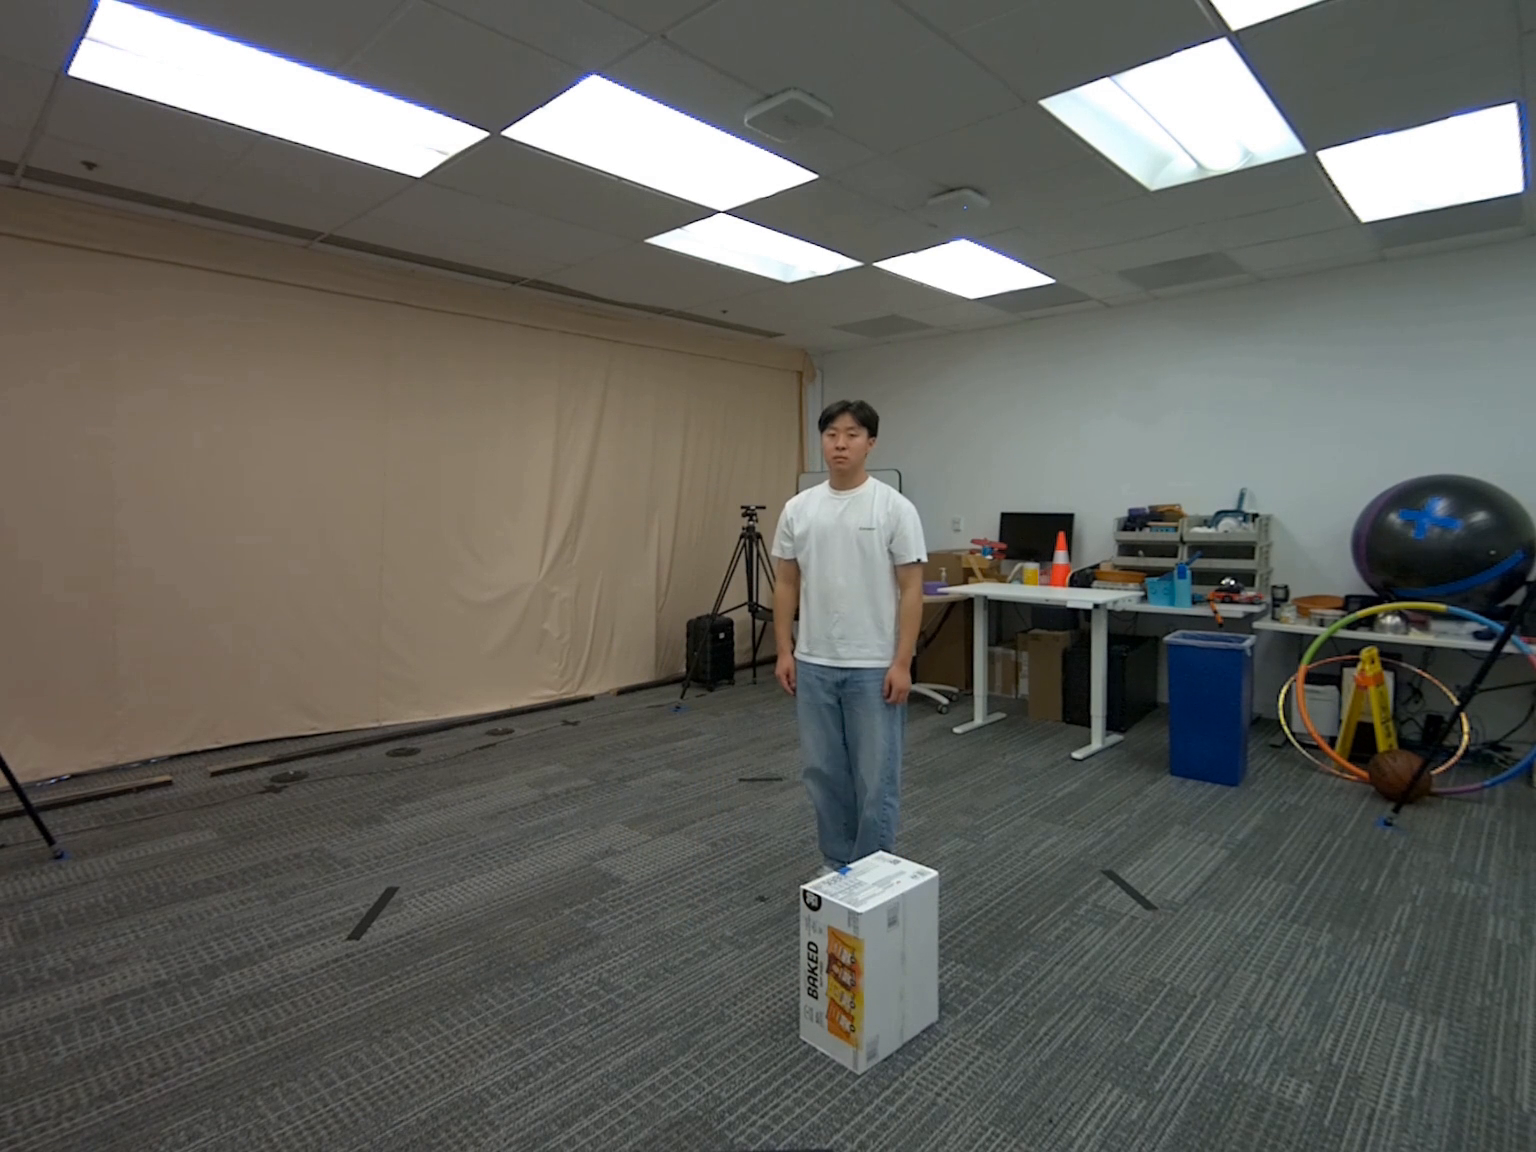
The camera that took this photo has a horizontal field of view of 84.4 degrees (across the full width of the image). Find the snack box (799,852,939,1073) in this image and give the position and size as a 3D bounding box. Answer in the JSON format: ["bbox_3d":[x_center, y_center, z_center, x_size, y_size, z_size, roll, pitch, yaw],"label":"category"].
[{"bbox_3d":[0.276,1.000,2.232,0.330,0.404,0.212,-3,4,-44],"label":"snack box"}]
